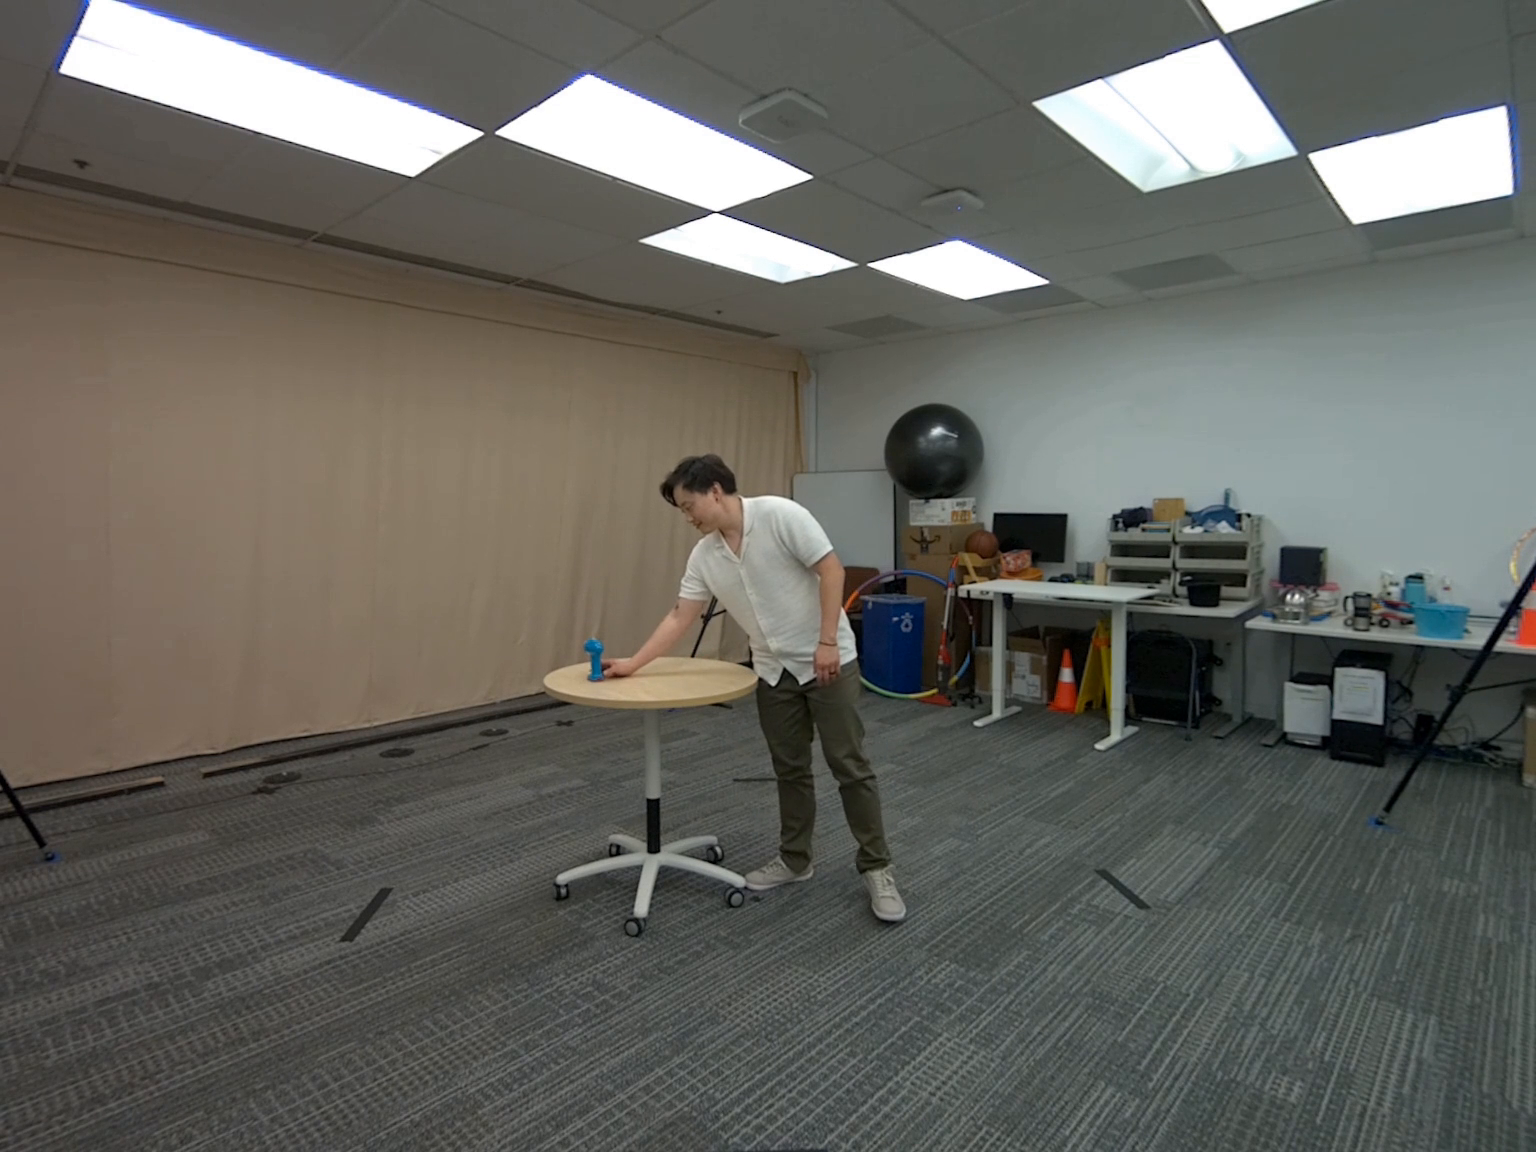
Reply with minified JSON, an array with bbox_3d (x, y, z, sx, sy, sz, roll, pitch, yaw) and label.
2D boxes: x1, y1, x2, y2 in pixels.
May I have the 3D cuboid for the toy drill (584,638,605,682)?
[{"bbox_3d":[-0.627,0.292,2.989,0.060,0.145,0.174,-7,7,-26],"label":"toy drill"}]
